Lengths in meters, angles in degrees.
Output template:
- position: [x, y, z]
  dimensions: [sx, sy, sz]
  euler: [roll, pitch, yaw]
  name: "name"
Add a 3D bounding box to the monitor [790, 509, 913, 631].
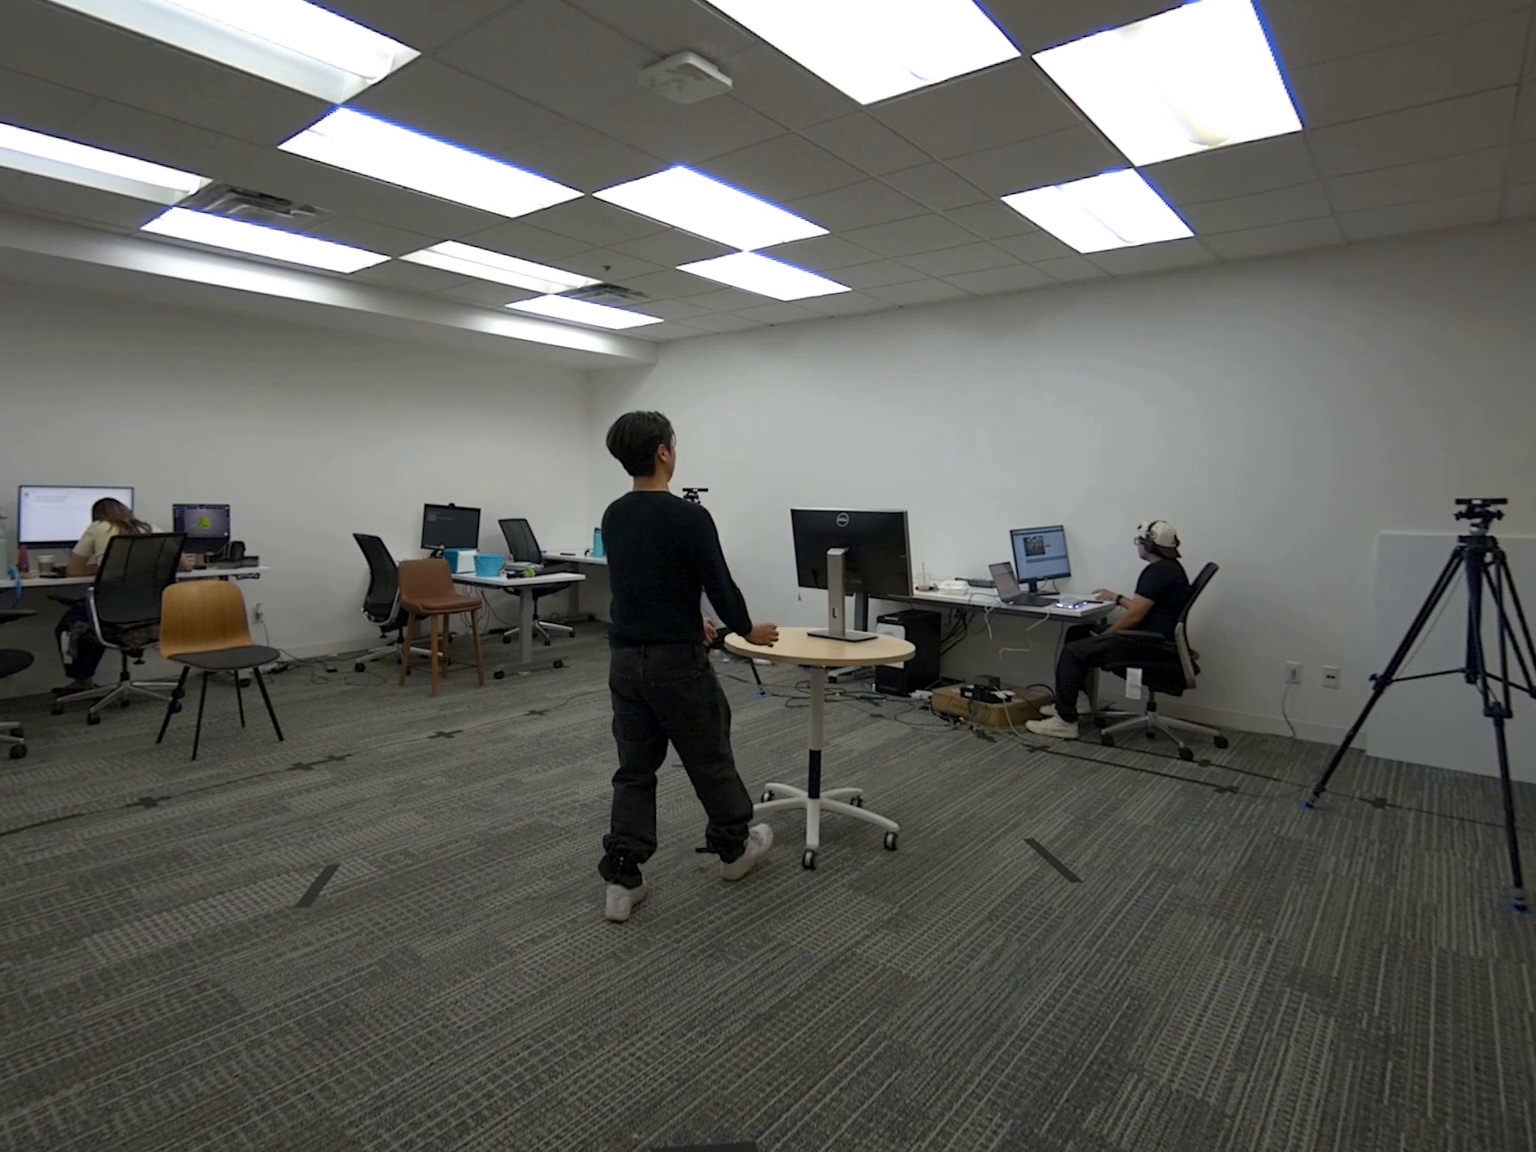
- position: [0.322, -0.015, 3.601]
  dimensions: [0.547, 0.517, 0.169]
  euler: [2, -2, 37]
  name: "monitor"
